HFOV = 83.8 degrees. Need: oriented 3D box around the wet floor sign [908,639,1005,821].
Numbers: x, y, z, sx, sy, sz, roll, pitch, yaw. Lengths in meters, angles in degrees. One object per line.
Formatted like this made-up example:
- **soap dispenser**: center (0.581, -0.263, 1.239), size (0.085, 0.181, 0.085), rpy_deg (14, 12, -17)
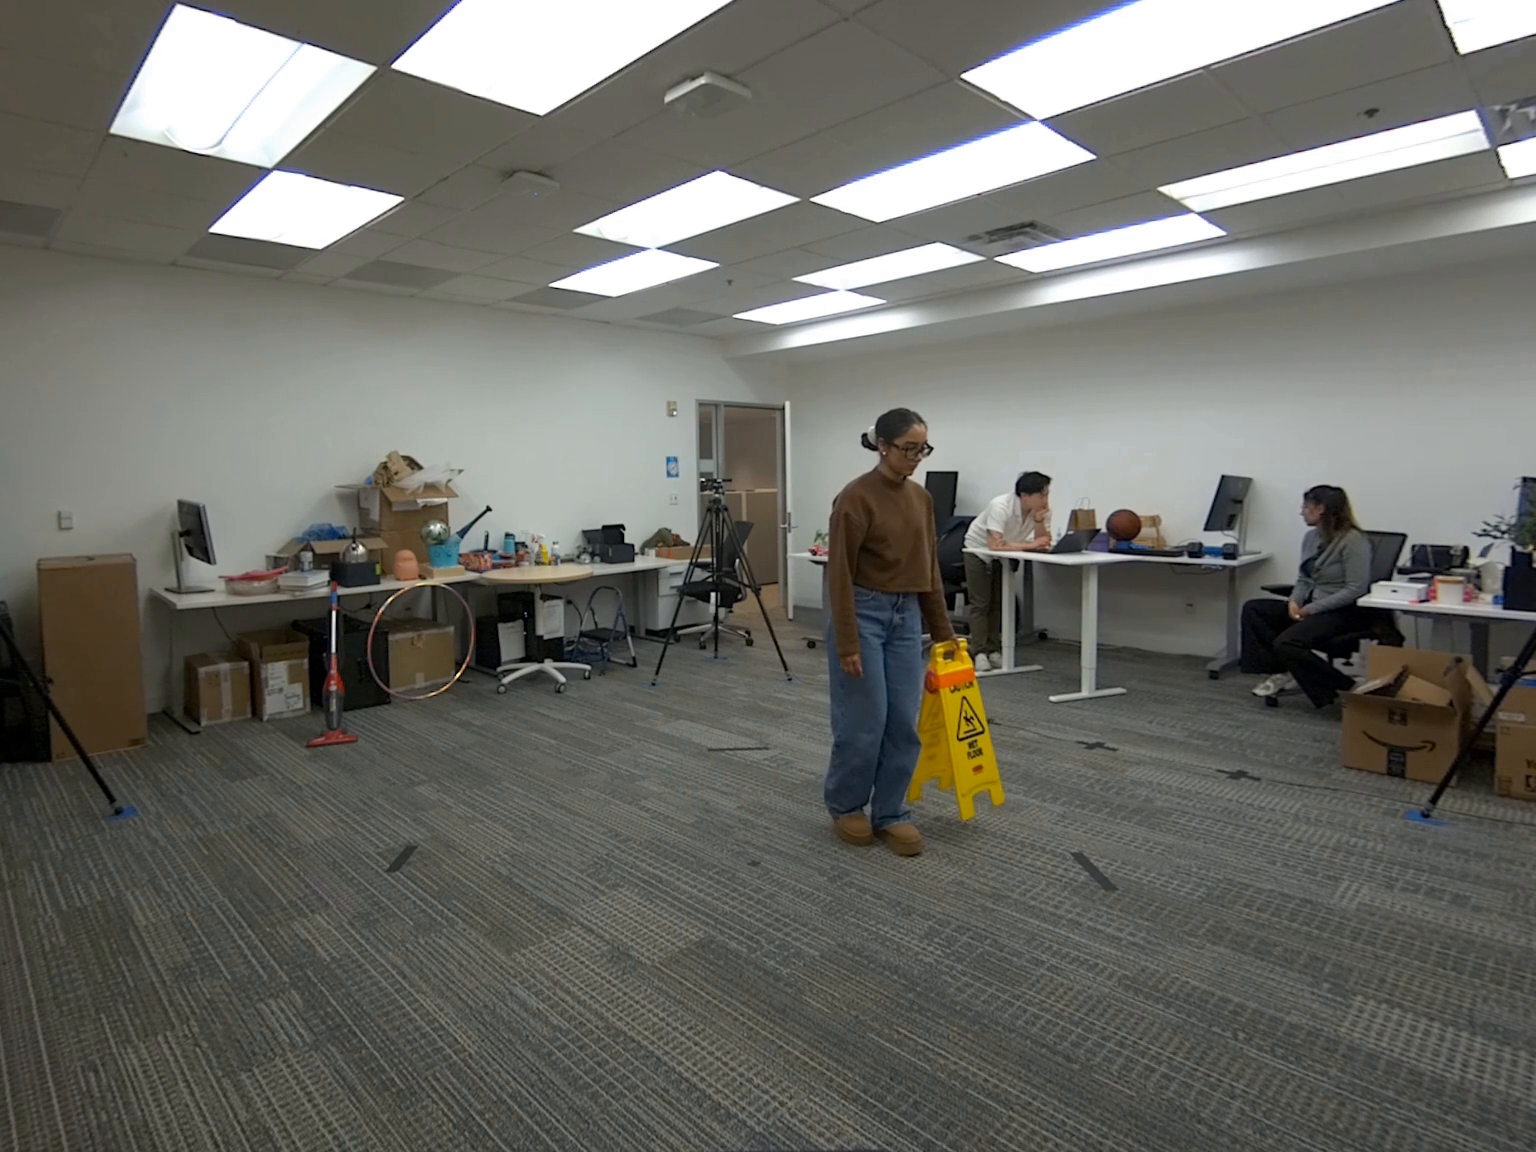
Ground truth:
- **wet floor sign**: center (0.726, 0.577, 3.381), size (0.275, 0.645, 0.298), rpy_deg (-4, 3, -40)
